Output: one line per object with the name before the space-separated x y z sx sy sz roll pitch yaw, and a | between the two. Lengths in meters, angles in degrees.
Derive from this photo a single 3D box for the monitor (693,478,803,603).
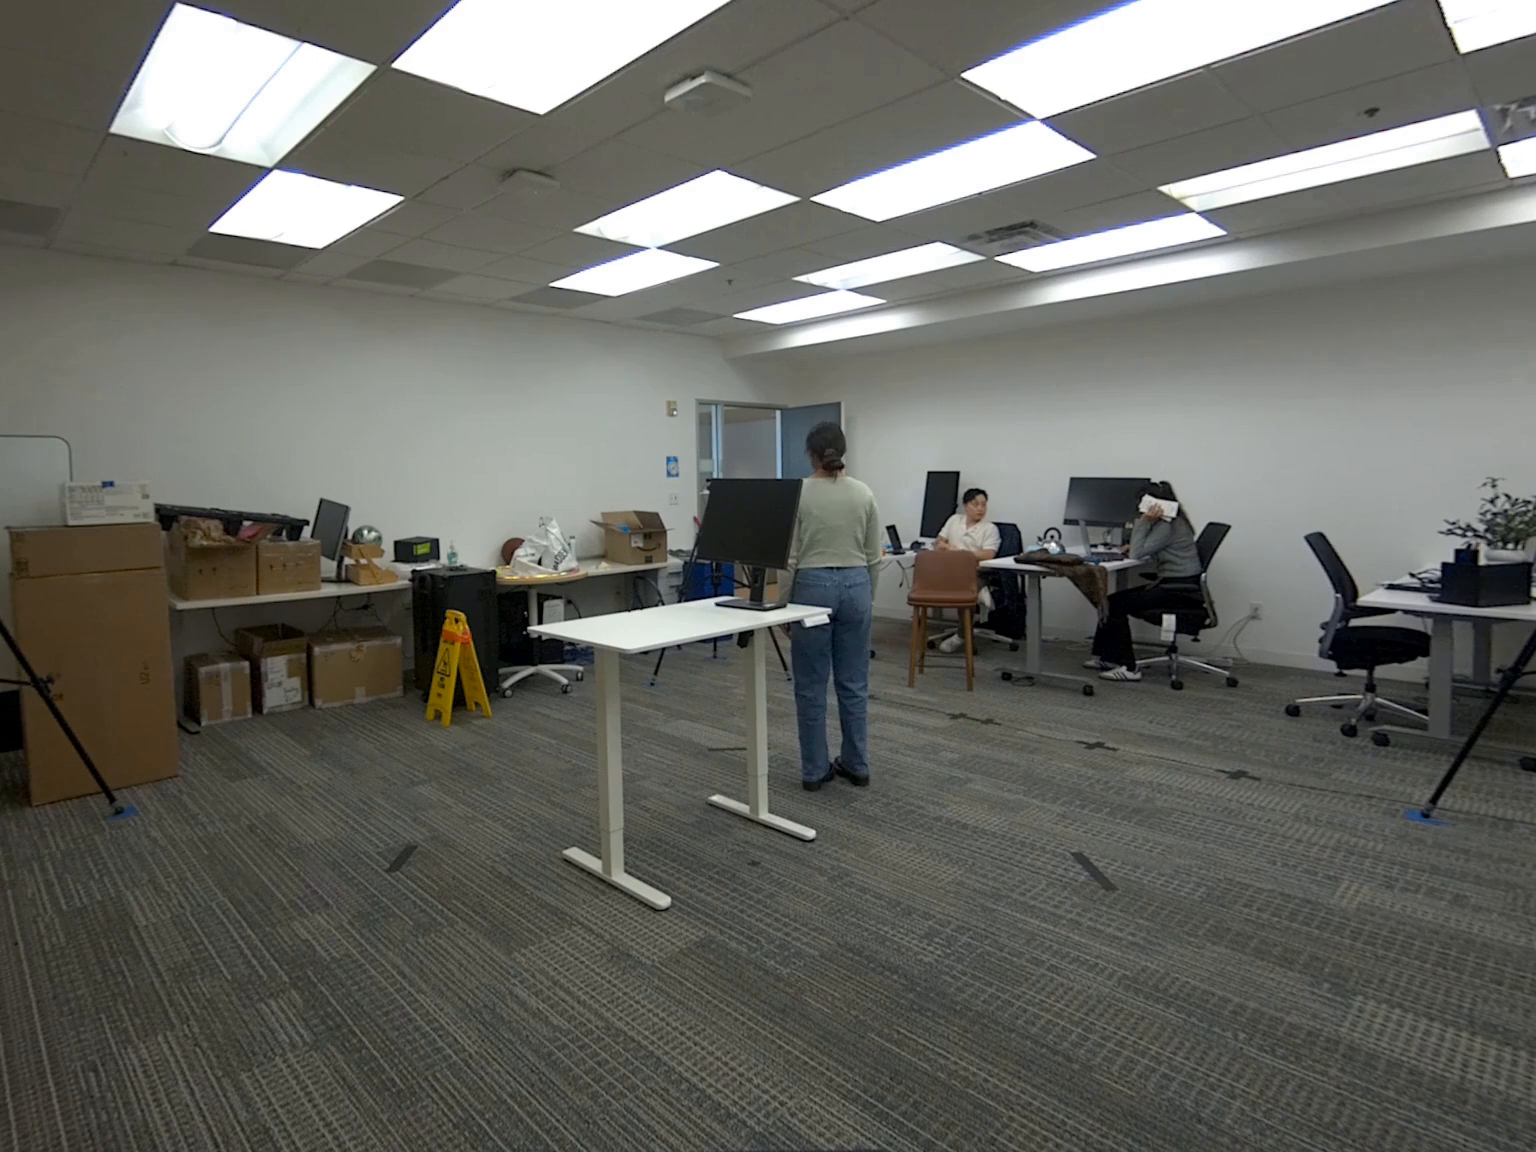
monitor | -0.065 -0.130 3.441 0.182 0.521 0.556 -2 5 -44
